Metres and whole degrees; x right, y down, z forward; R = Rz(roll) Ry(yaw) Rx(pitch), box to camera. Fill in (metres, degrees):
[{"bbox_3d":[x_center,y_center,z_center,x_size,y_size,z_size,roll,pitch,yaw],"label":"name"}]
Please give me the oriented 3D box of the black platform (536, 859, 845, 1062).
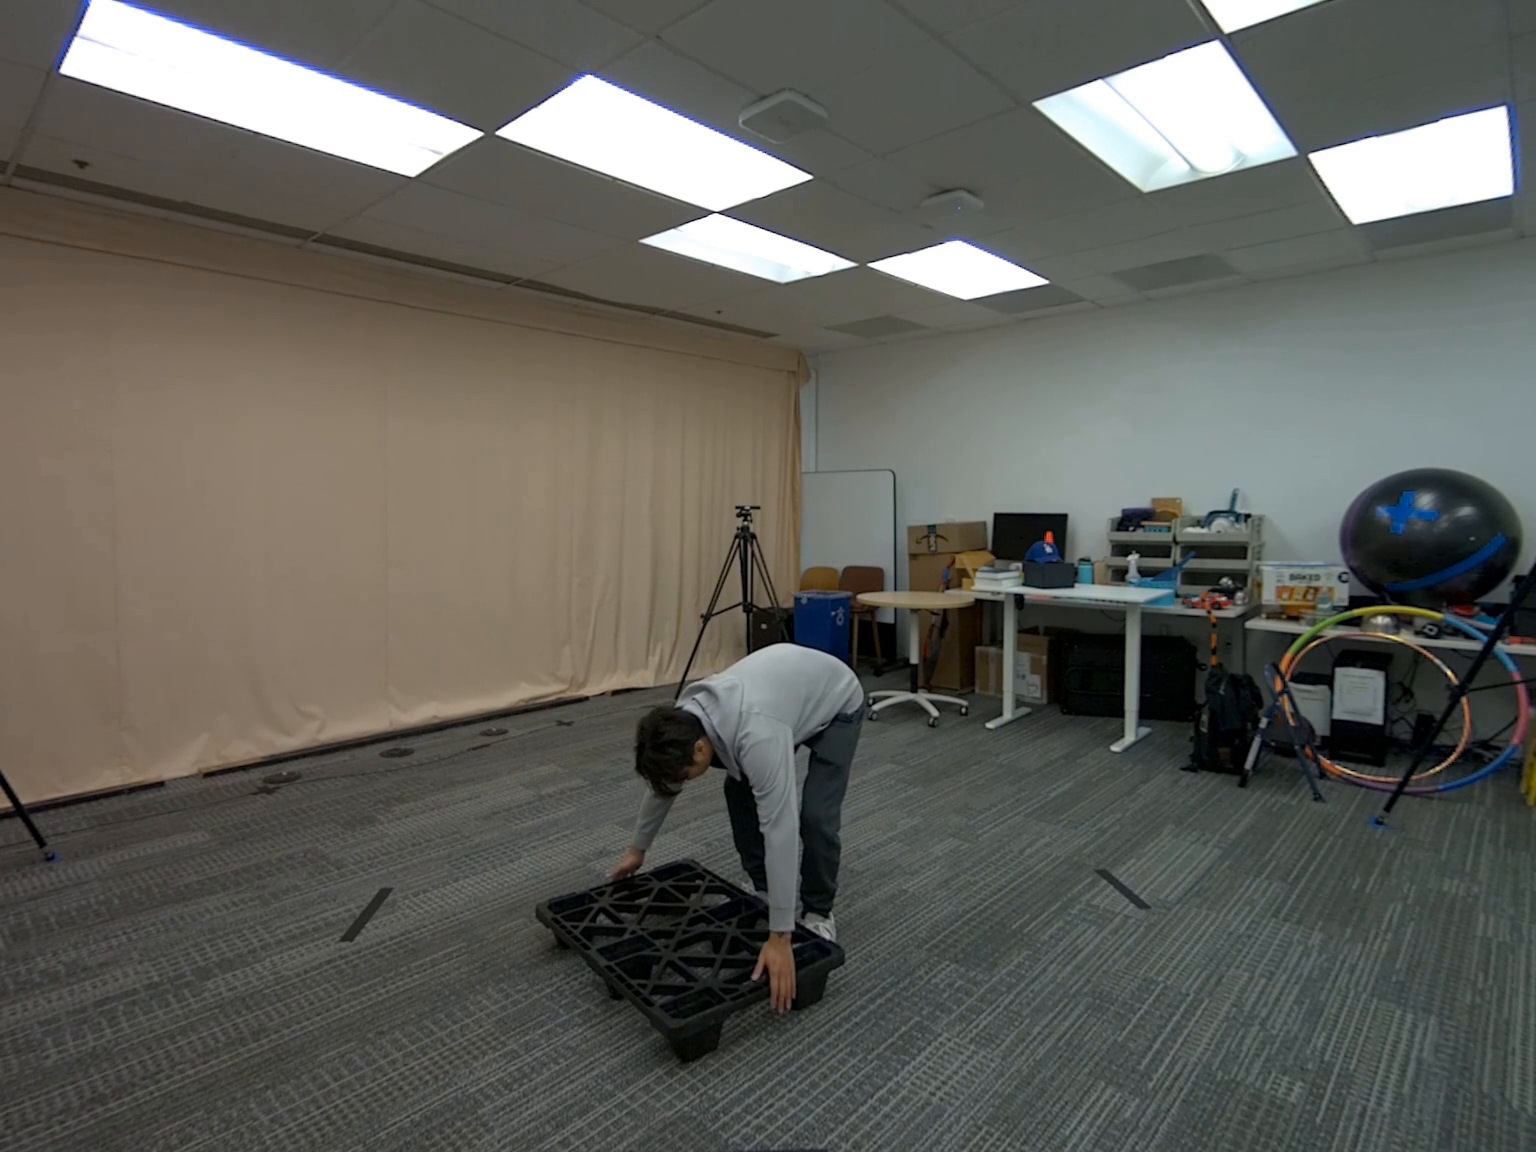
[{"bbox_3d":[-0.261,1.121,2.526,0.587,0.143,0.832,-3,5,-38],"label":"black platform"}]
